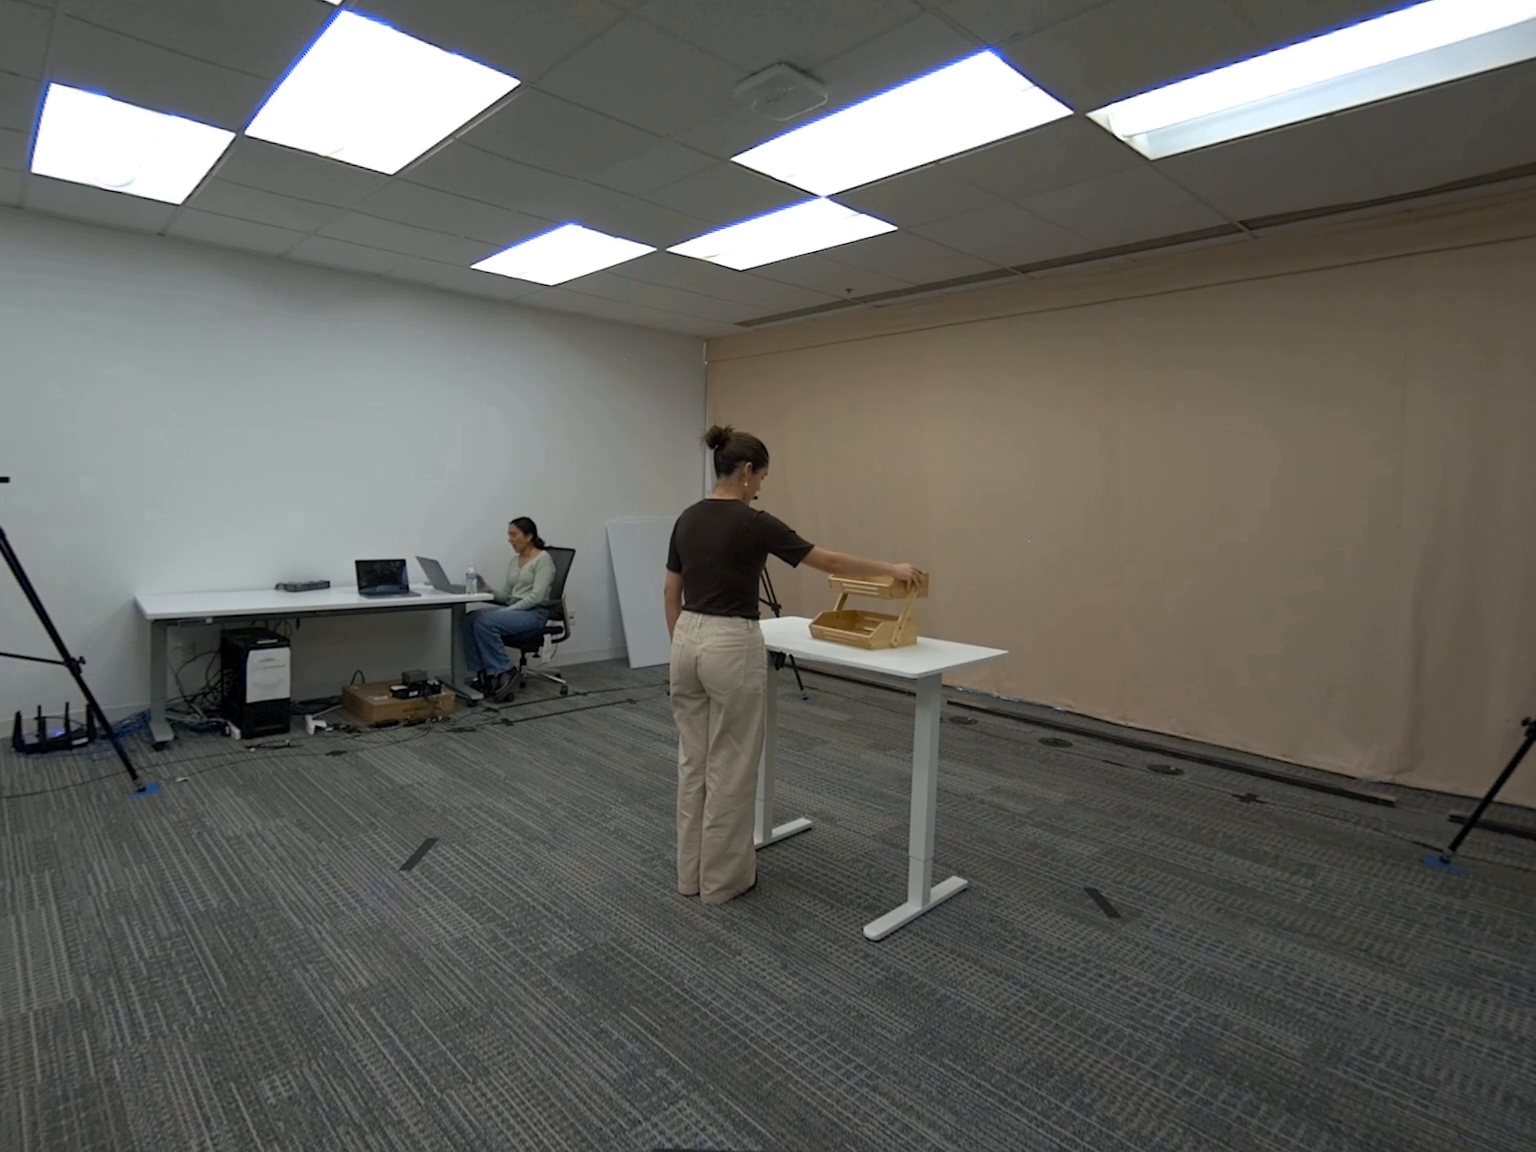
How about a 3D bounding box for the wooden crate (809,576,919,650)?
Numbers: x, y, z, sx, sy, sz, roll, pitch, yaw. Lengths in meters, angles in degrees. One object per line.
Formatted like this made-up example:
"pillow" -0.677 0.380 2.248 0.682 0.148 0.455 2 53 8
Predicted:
"wooden crate" 0.361 0.105 3.065 0.295 0.273 0.333 -1 5 -41
